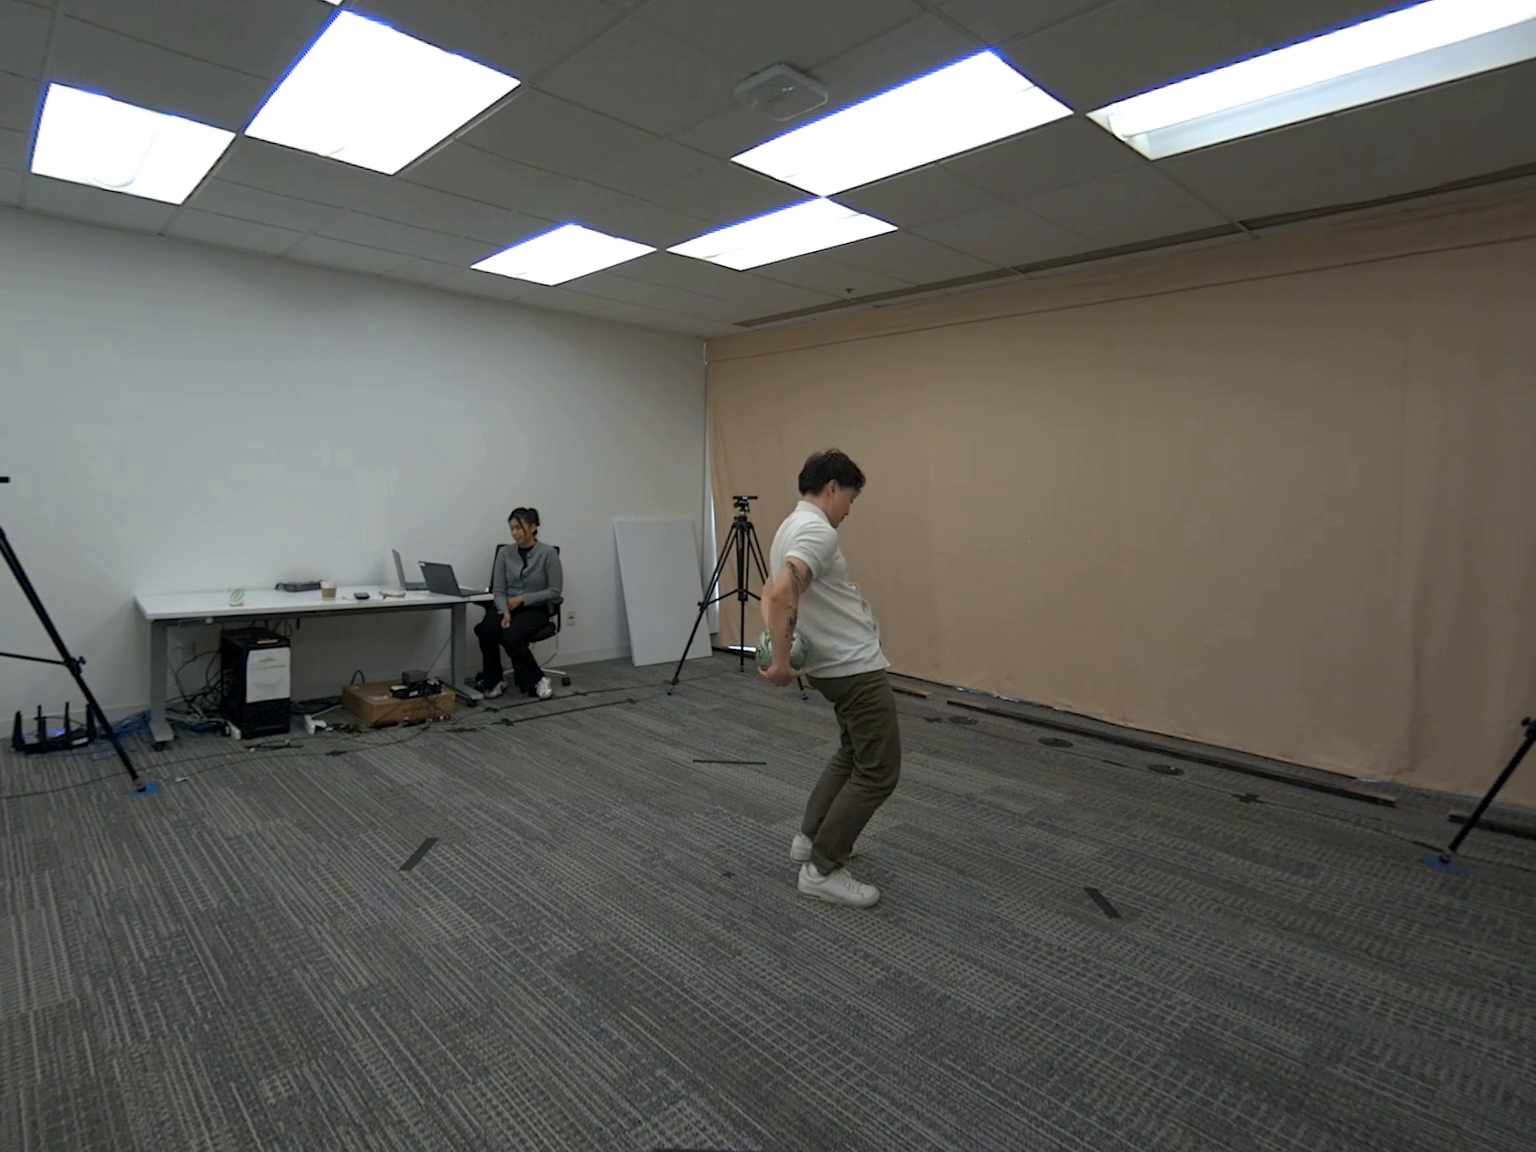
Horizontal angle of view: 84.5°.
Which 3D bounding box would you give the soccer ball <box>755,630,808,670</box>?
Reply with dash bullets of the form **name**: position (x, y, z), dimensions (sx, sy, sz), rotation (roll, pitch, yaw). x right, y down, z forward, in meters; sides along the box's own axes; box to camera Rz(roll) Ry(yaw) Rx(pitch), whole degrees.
- **soccer ball**: position (0.043, 0.263, 2.879), dimensions (0.187, 0.187, 0.188), rotation (1, 4, -1)
